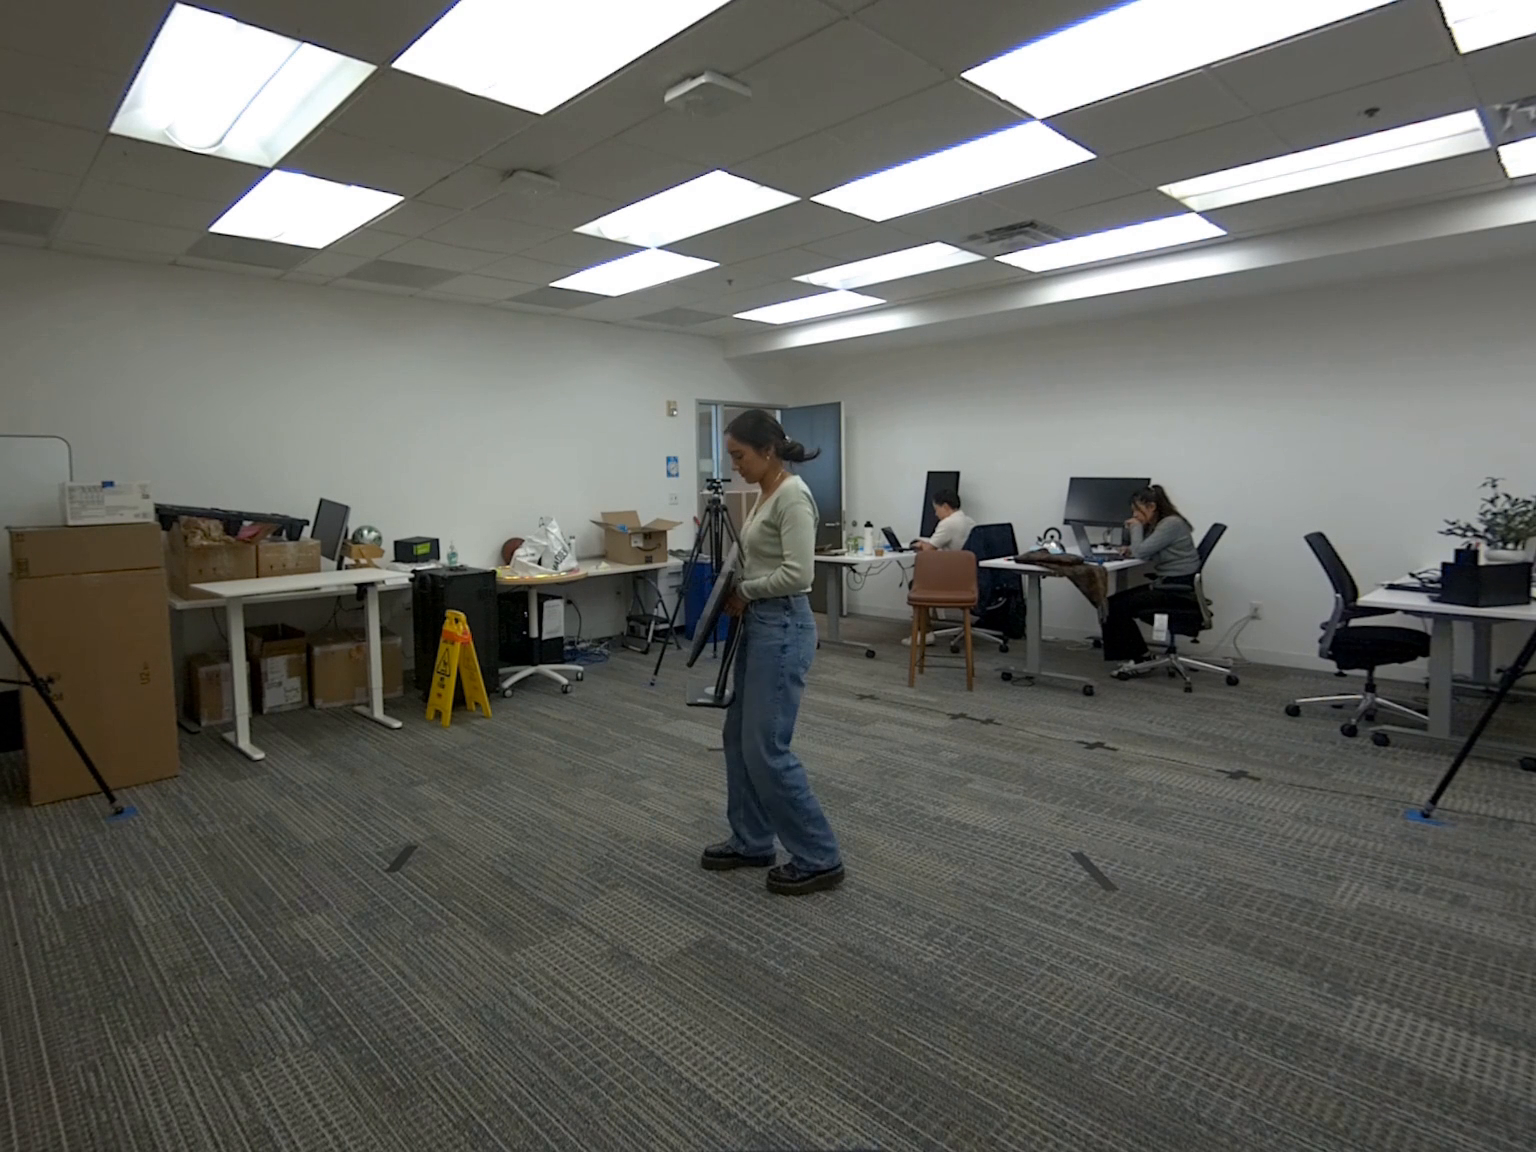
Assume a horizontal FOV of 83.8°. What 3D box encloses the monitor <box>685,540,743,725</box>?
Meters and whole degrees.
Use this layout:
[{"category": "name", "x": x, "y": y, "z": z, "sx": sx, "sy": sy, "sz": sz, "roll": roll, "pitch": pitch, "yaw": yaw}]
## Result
[{"category": "monitor", "x": -0.166, "y": 0.174, "z": 3.013, "sx": 0.175, "sy": 0.512, "sz": 0.534, "roll": 4, "pitch": 10, "yaw": -1}]
